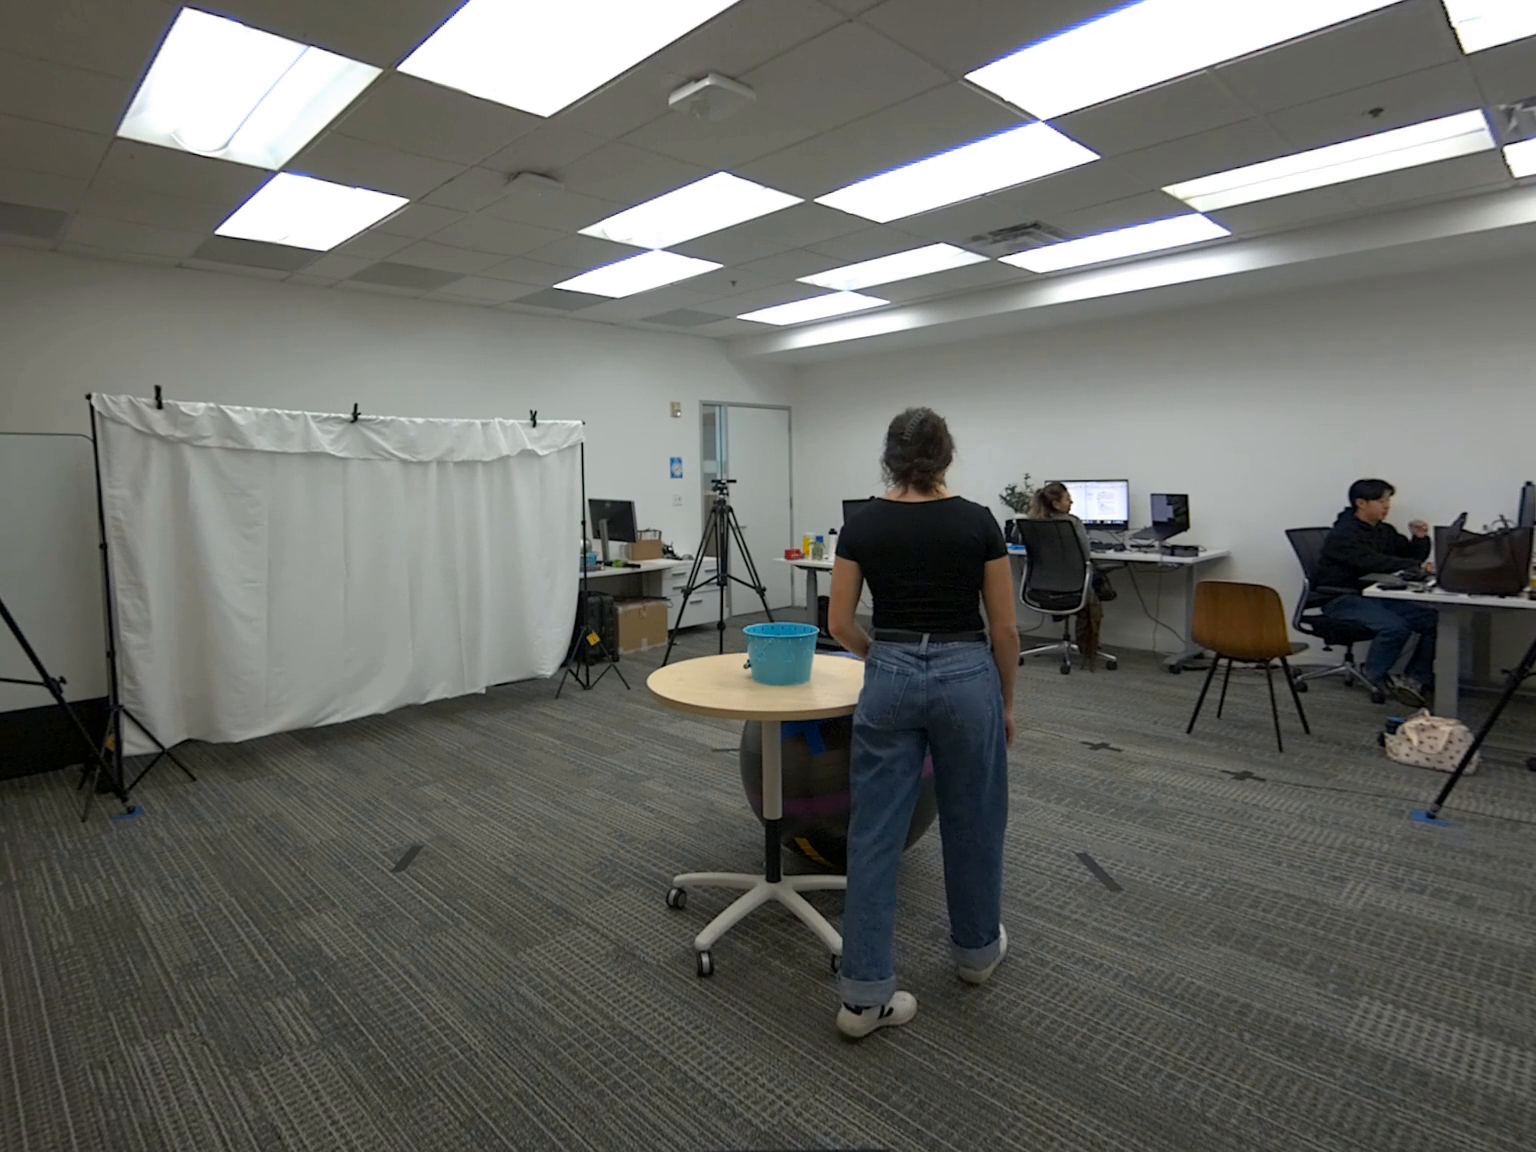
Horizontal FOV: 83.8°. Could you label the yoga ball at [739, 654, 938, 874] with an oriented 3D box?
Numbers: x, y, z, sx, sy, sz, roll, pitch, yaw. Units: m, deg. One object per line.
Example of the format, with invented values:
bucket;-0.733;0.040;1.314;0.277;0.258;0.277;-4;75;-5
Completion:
yoga ball;0.275;0.672;3.132;0.757;0.755;0.762;-1;5;-2
